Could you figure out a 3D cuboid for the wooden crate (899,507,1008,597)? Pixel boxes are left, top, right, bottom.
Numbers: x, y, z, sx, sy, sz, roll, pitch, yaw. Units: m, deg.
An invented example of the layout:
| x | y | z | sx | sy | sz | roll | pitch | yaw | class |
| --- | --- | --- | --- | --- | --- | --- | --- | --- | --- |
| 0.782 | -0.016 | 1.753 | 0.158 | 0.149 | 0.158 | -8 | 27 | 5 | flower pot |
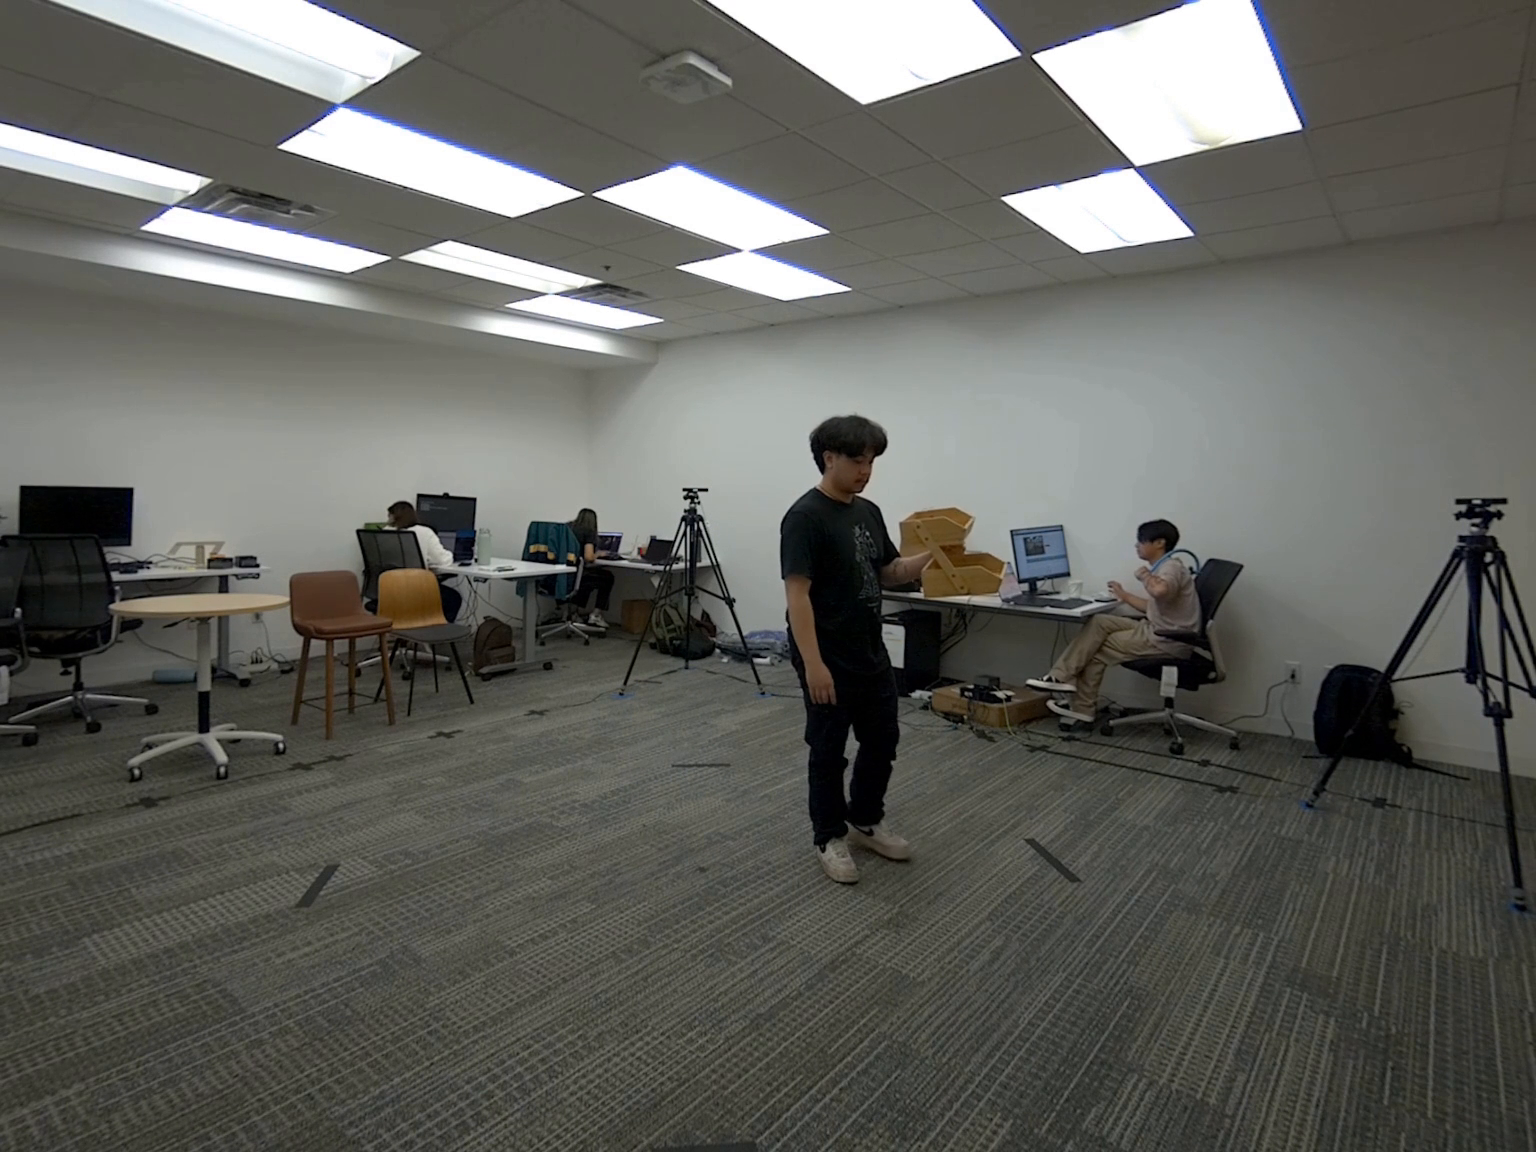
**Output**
| x | y | z | sx | sy | sz | roll | pitch | yaw | class |
| --- | --- | --- | --- | --- | --- | --- | --- | --- | --- |
| 0.643 | -0.094 | 2.872 | 0.307 | 0.272 | 0.320 | -6 | 6 | 19 | wooden crate |
